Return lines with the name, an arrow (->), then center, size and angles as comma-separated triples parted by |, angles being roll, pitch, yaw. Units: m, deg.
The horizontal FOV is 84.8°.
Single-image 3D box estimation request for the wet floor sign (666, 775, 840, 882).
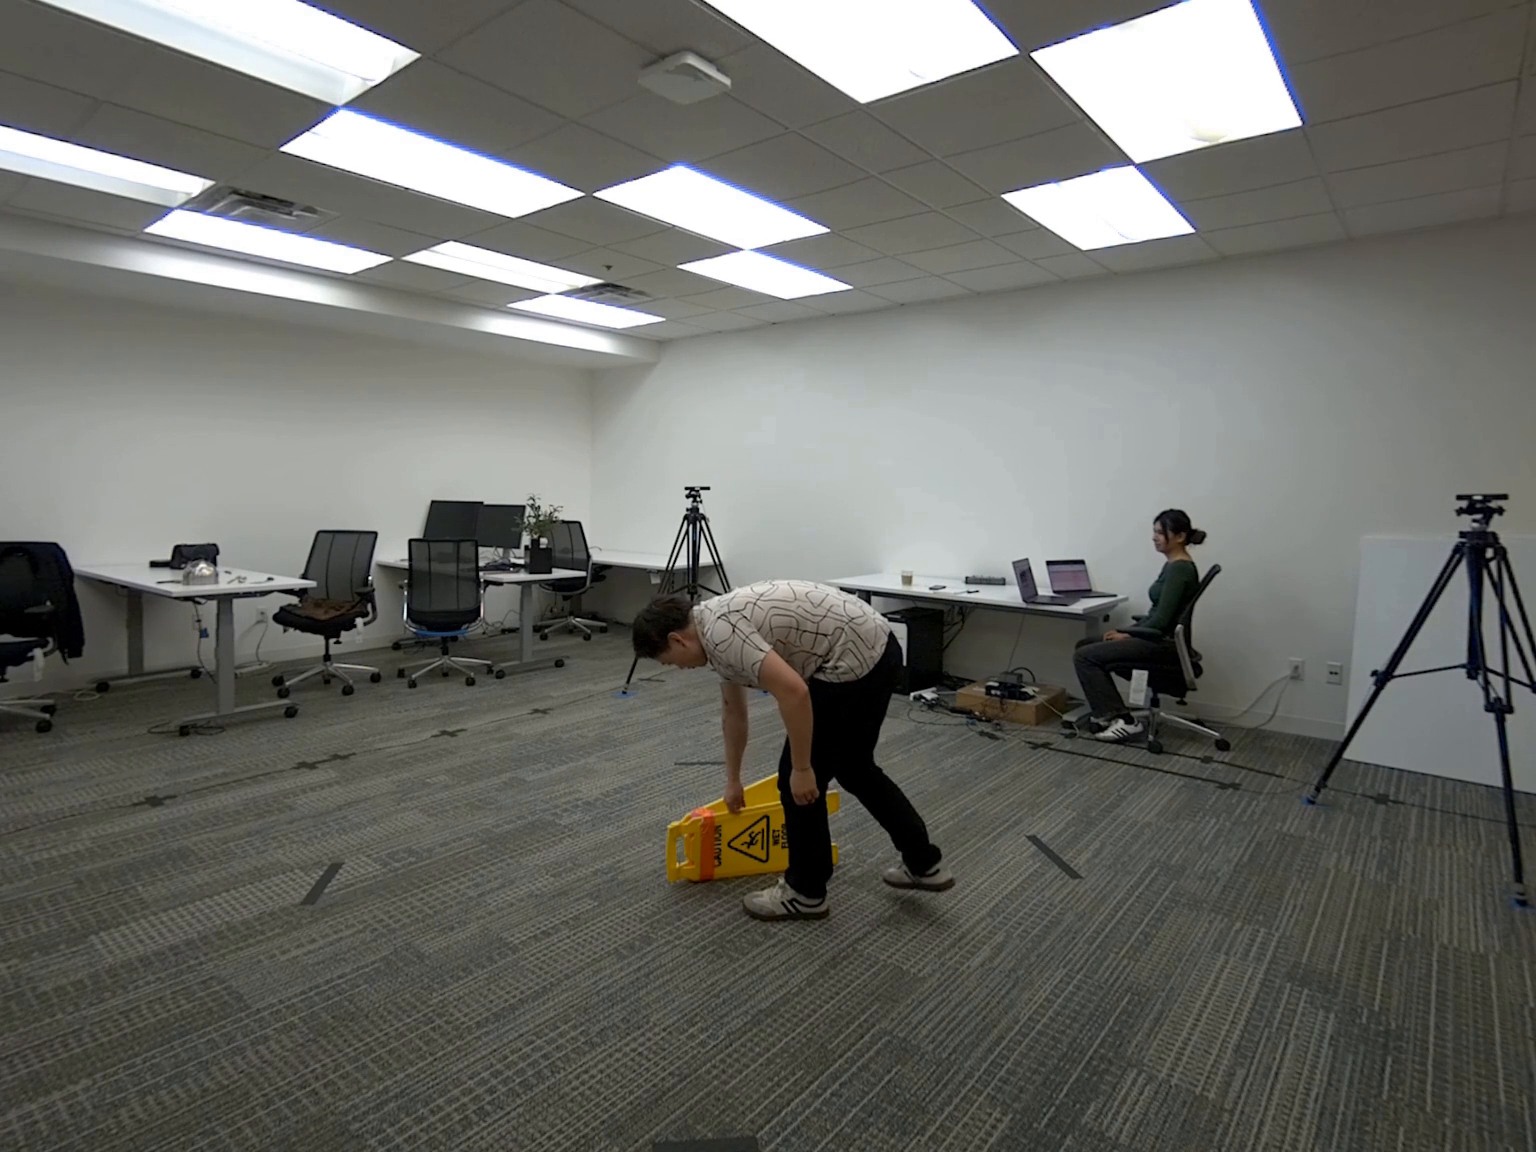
wet floor sign -> -0.093, 0.934, 3.109 | 0.628, 0.281, 0.299 | -5, 7, -33
